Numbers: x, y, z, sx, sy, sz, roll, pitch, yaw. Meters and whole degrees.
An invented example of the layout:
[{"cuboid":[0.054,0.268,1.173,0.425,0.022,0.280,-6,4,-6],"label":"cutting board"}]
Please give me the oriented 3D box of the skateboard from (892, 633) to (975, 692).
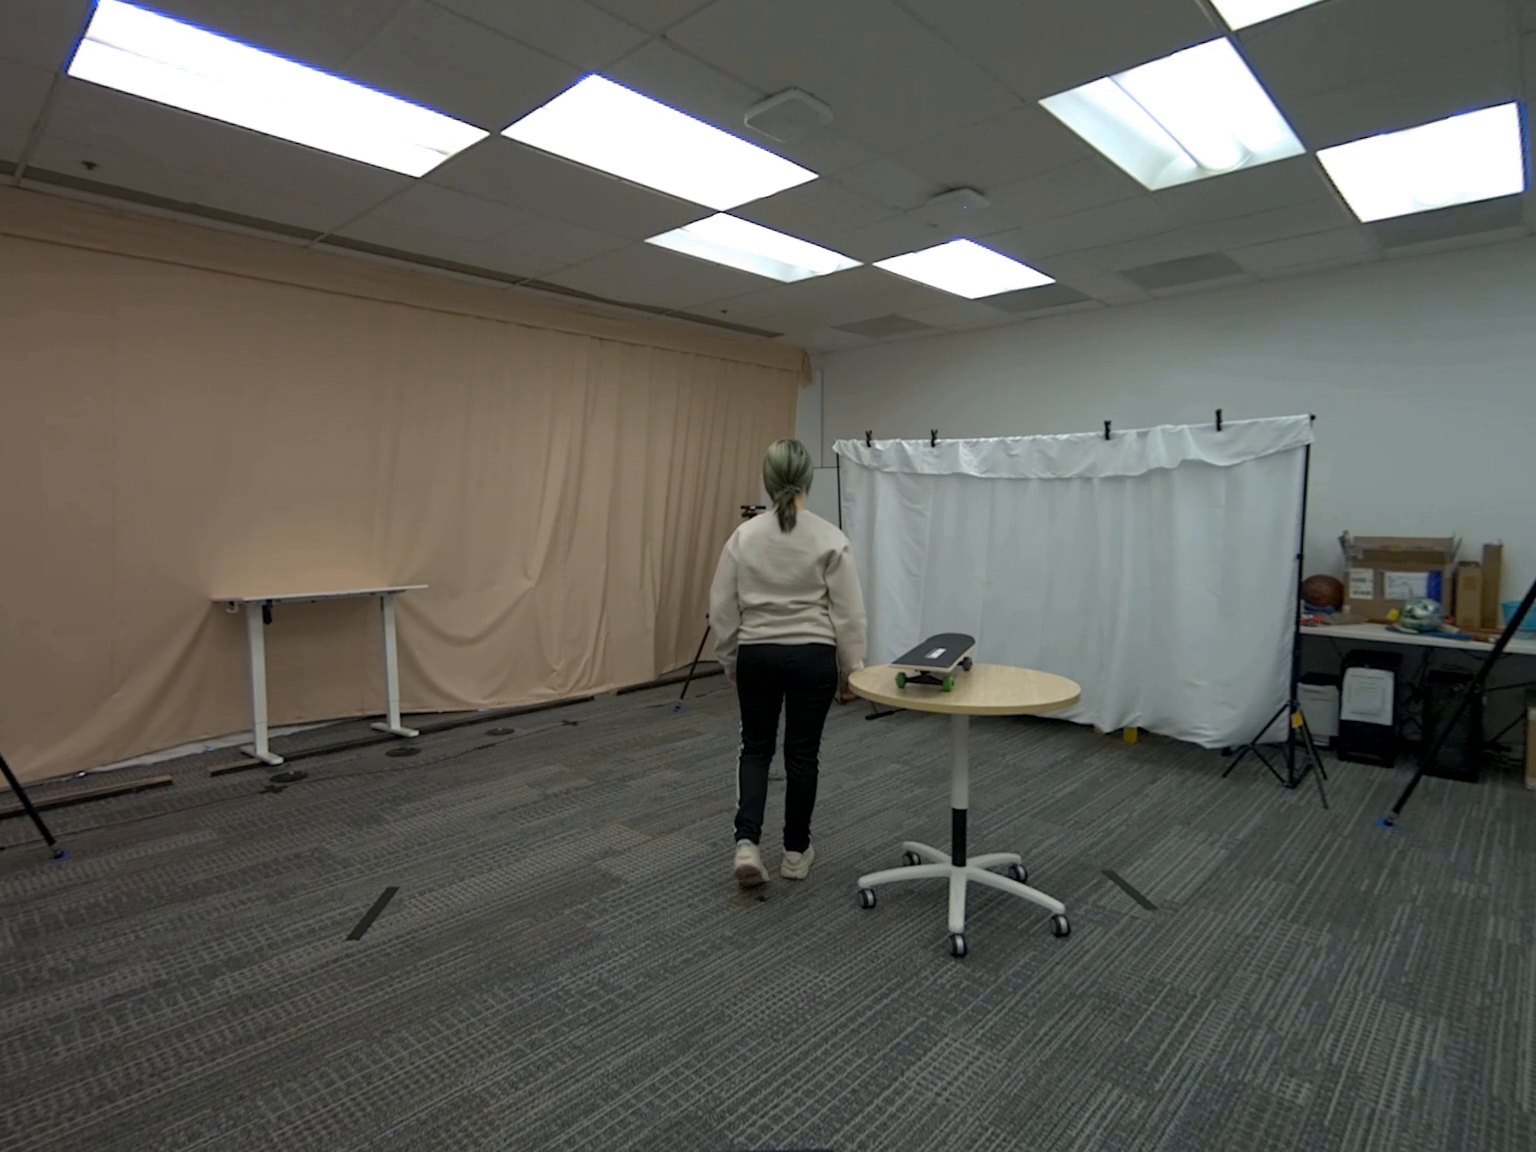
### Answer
[{"cuboid":[0.597,0.311,2.949,0.198,0.110,0.768,0,4,23],"label":"skateboard"}]
